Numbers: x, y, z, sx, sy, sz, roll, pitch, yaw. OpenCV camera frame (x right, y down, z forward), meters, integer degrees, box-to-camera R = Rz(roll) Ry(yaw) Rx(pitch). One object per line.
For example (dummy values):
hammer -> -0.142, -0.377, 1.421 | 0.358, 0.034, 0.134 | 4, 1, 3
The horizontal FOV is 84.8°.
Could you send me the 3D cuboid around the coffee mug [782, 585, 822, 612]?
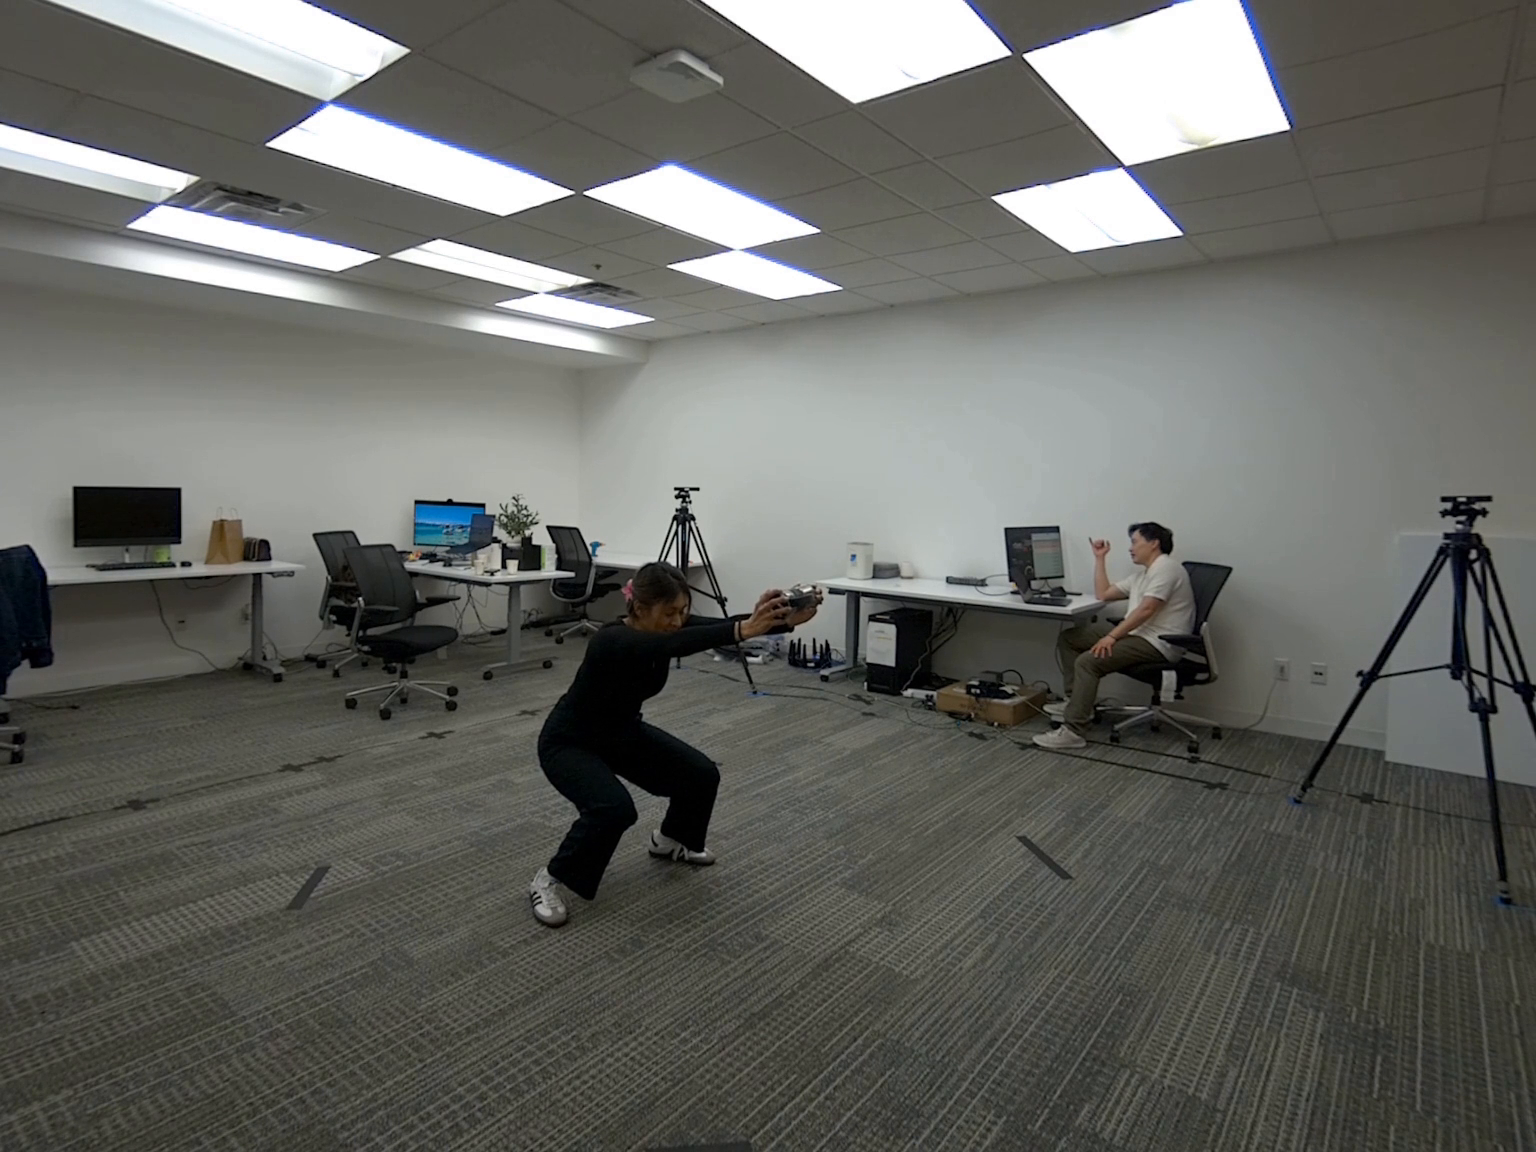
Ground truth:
coffee mug -> 0.057, 0.080, 2.434 | 0.126, 0.087, 0.197 | 11, 15, 43
